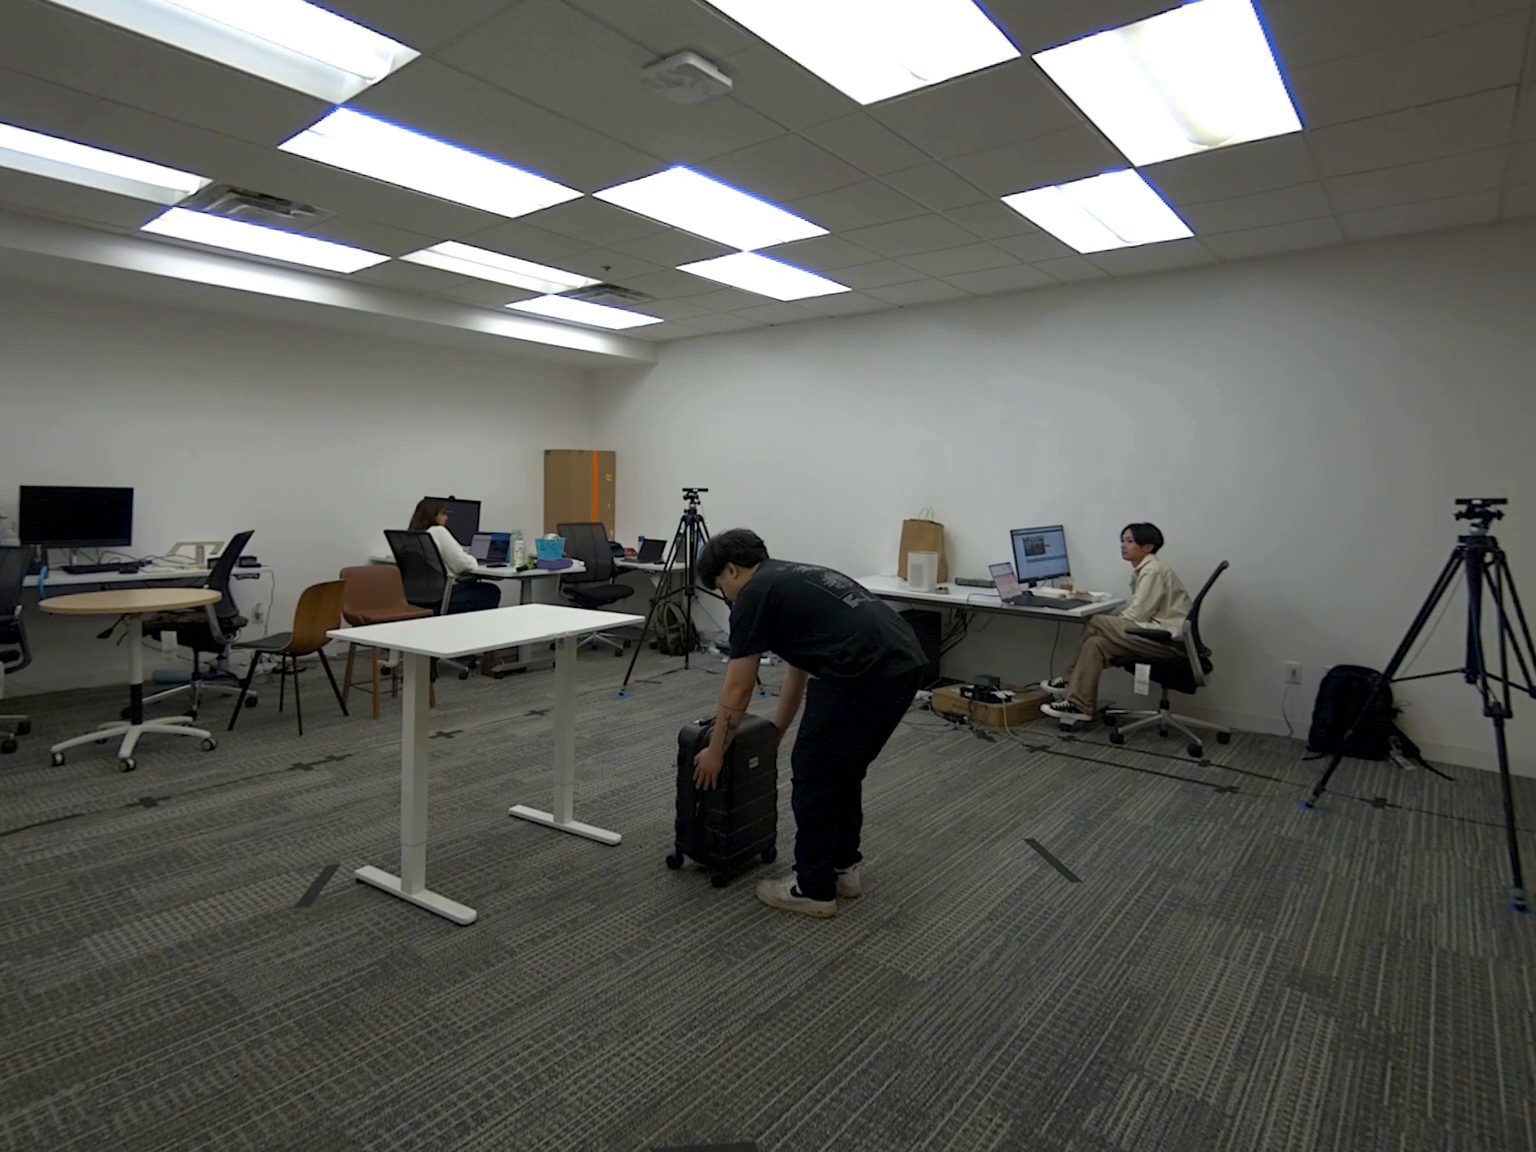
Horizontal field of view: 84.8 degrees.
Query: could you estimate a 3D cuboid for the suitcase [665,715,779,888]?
[{"bbox_3d":[-0.161,0.796,3.153,0.256,0.548,0.364,3,3,36],"label":"suitcase"}]
